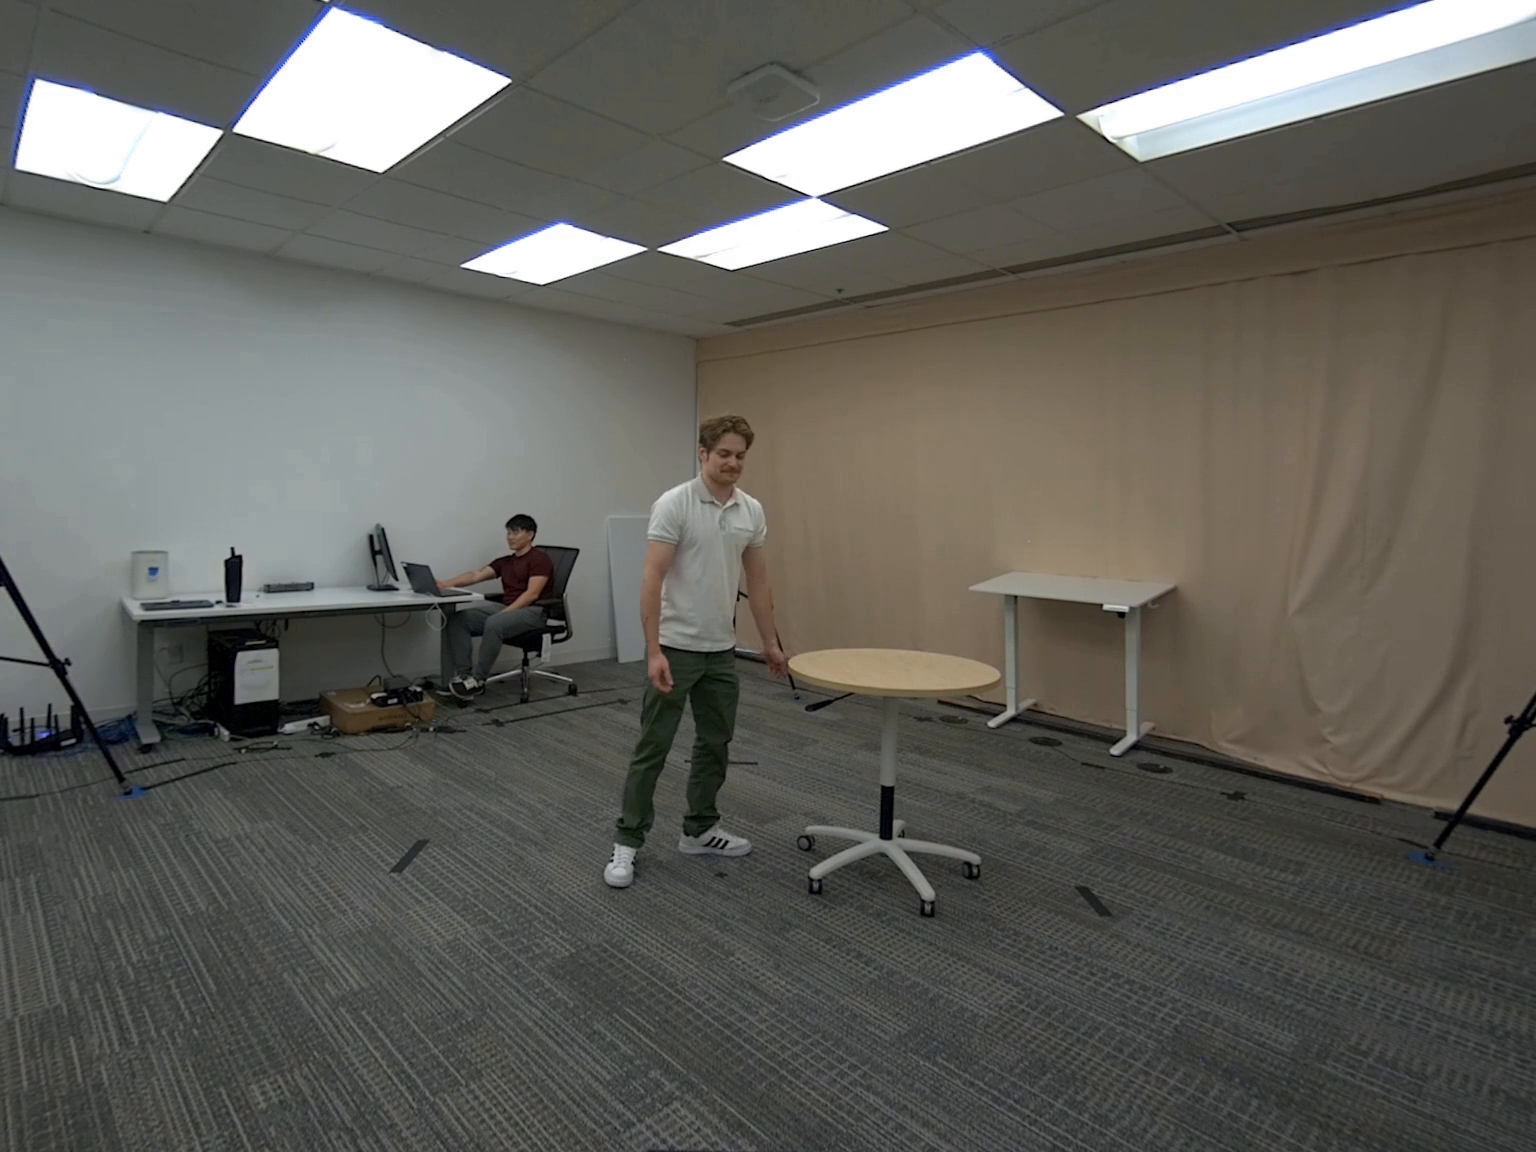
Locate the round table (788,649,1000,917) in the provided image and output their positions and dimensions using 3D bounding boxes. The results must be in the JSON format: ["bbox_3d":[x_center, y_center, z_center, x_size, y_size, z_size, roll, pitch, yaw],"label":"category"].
[{"bbox_3d":[0.432,0.727,3.115,0.763,0.792,0.766,2,4,-1],"label":"round table"}]
